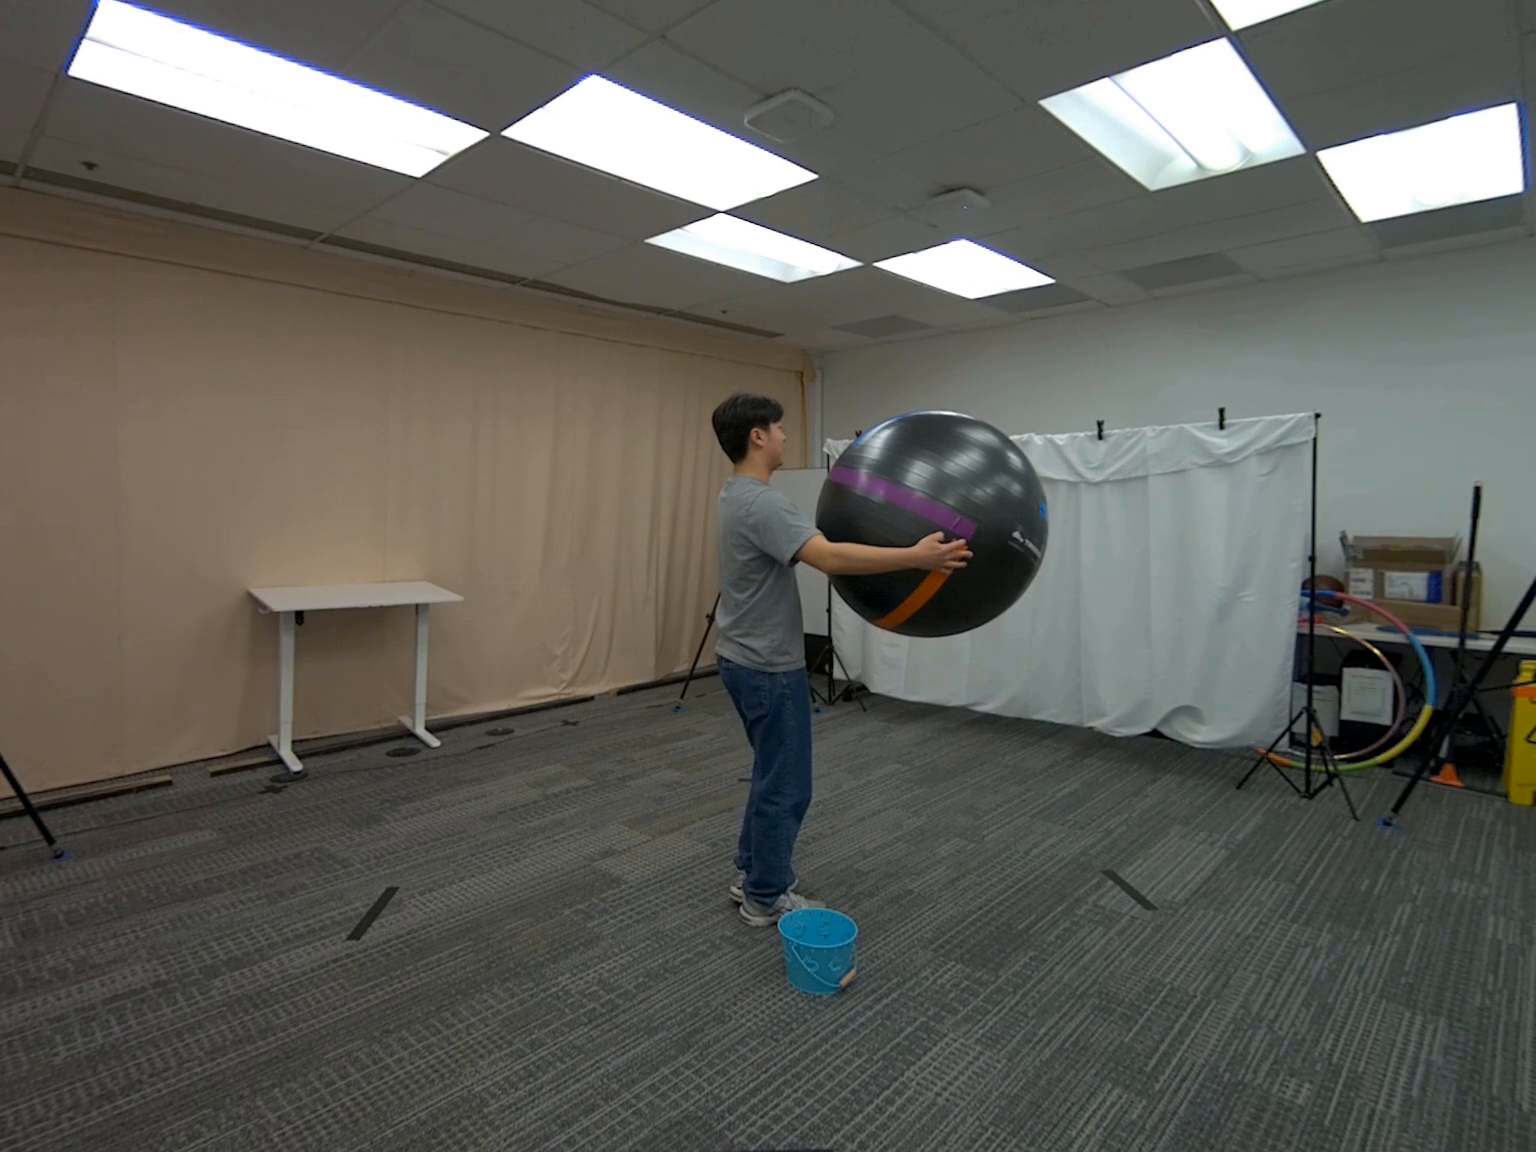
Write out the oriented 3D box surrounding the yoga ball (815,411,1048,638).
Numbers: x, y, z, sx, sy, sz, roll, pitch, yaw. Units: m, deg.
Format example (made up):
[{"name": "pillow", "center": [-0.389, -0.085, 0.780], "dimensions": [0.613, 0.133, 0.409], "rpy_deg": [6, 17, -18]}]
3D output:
[{"name": "yoga ball", "center": [0.560, -0.165, 2.842], "dimensions": [0.757, 0.756, 0.761], "rpy_deg": [0, 4, -2]}]
